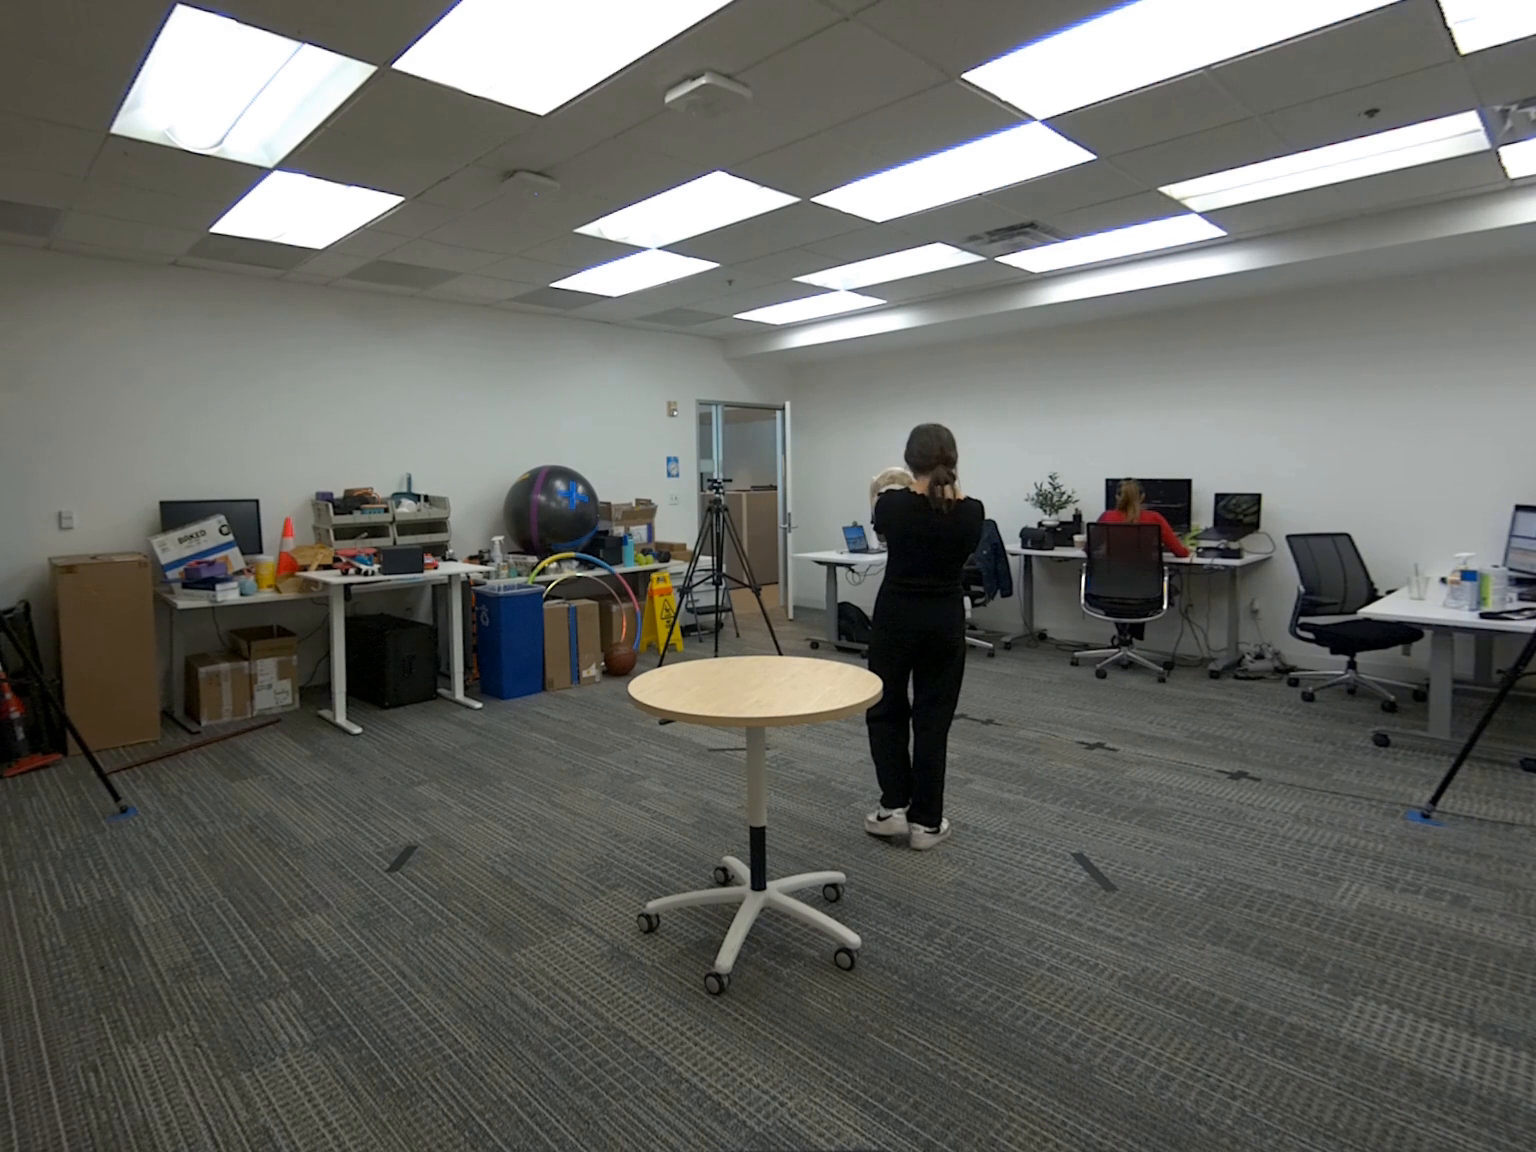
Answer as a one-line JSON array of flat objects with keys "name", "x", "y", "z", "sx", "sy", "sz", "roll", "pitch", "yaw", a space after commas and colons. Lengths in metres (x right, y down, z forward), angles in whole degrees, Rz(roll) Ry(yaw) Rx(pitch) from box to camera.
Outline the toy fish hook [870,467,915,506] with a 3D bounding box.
[{"name": "toy fish hook", "x": 0.622, "y": -0.225, "z": 3.676, "sx": 0.226, "sy": 0.506, "sz": 0.048, "roll": -30, "pitch": 1, "yaw": 13}]
